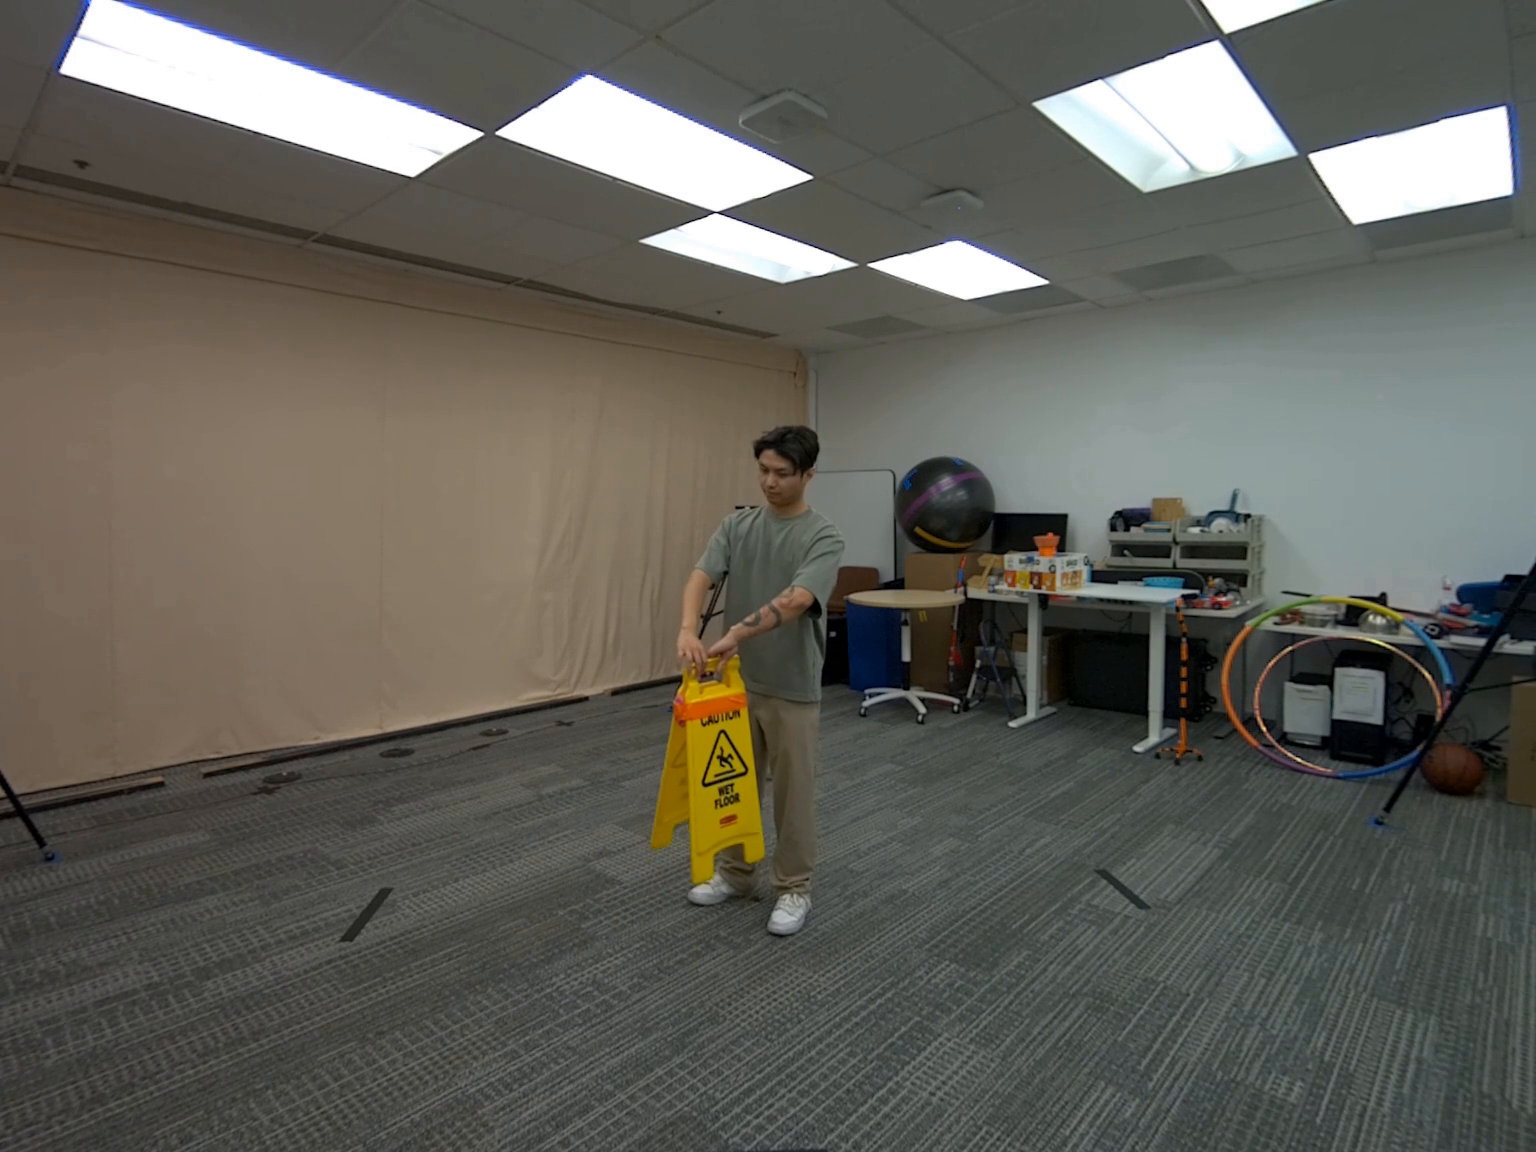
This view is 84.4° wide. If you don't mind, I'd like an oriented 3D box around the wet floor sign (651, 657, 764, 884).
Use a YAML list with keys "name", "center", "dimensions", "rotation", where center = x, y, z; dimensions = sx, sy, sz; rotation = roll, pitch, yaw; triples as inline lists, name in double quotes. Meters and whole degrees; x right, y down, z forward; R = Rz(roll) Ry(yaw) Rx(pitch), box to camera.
- name: "wet floor sign"
  center: [-0.179, 0.578, 2.625]
  dimensions: [0.274, 0.642, 0.300]
  rotation: [-6, 13, -38]
